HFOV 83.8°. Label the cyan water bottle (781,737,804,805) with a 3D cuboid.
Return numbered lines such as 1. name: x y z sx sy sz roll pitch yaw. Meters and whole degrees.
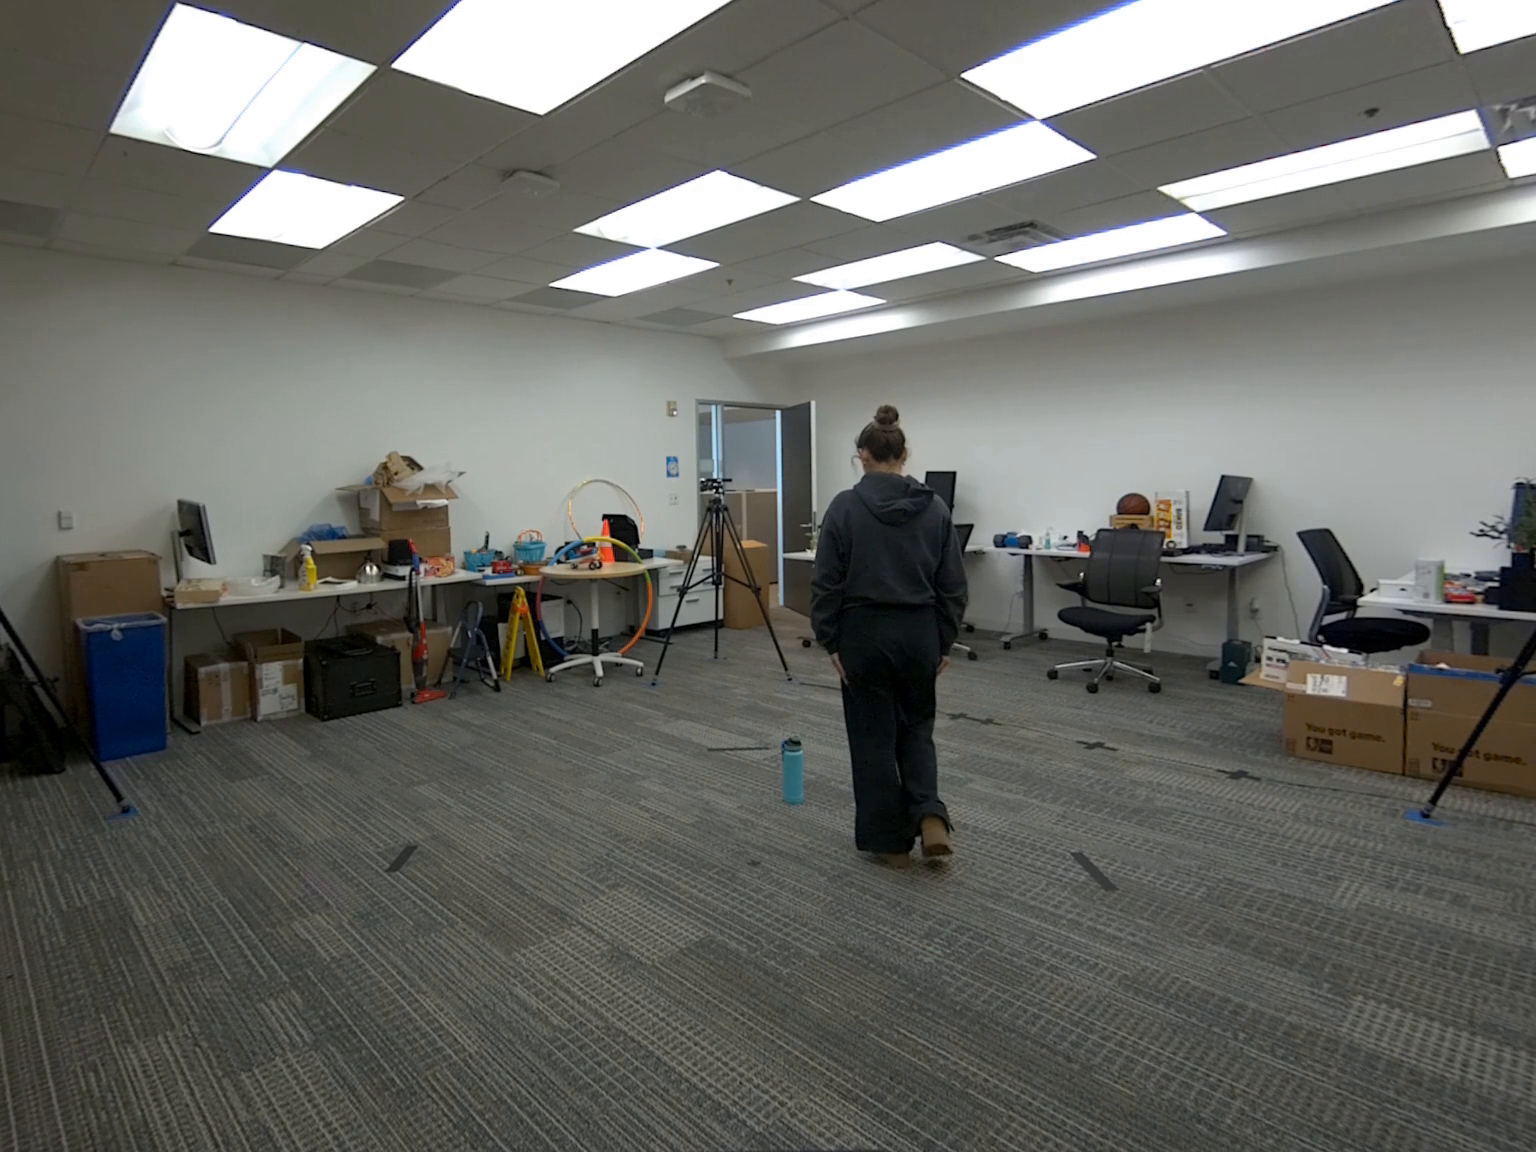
1. cyan water bottle: 0.111 0.838 3.685 0.092 0.282 0.093 -3 4 -1
